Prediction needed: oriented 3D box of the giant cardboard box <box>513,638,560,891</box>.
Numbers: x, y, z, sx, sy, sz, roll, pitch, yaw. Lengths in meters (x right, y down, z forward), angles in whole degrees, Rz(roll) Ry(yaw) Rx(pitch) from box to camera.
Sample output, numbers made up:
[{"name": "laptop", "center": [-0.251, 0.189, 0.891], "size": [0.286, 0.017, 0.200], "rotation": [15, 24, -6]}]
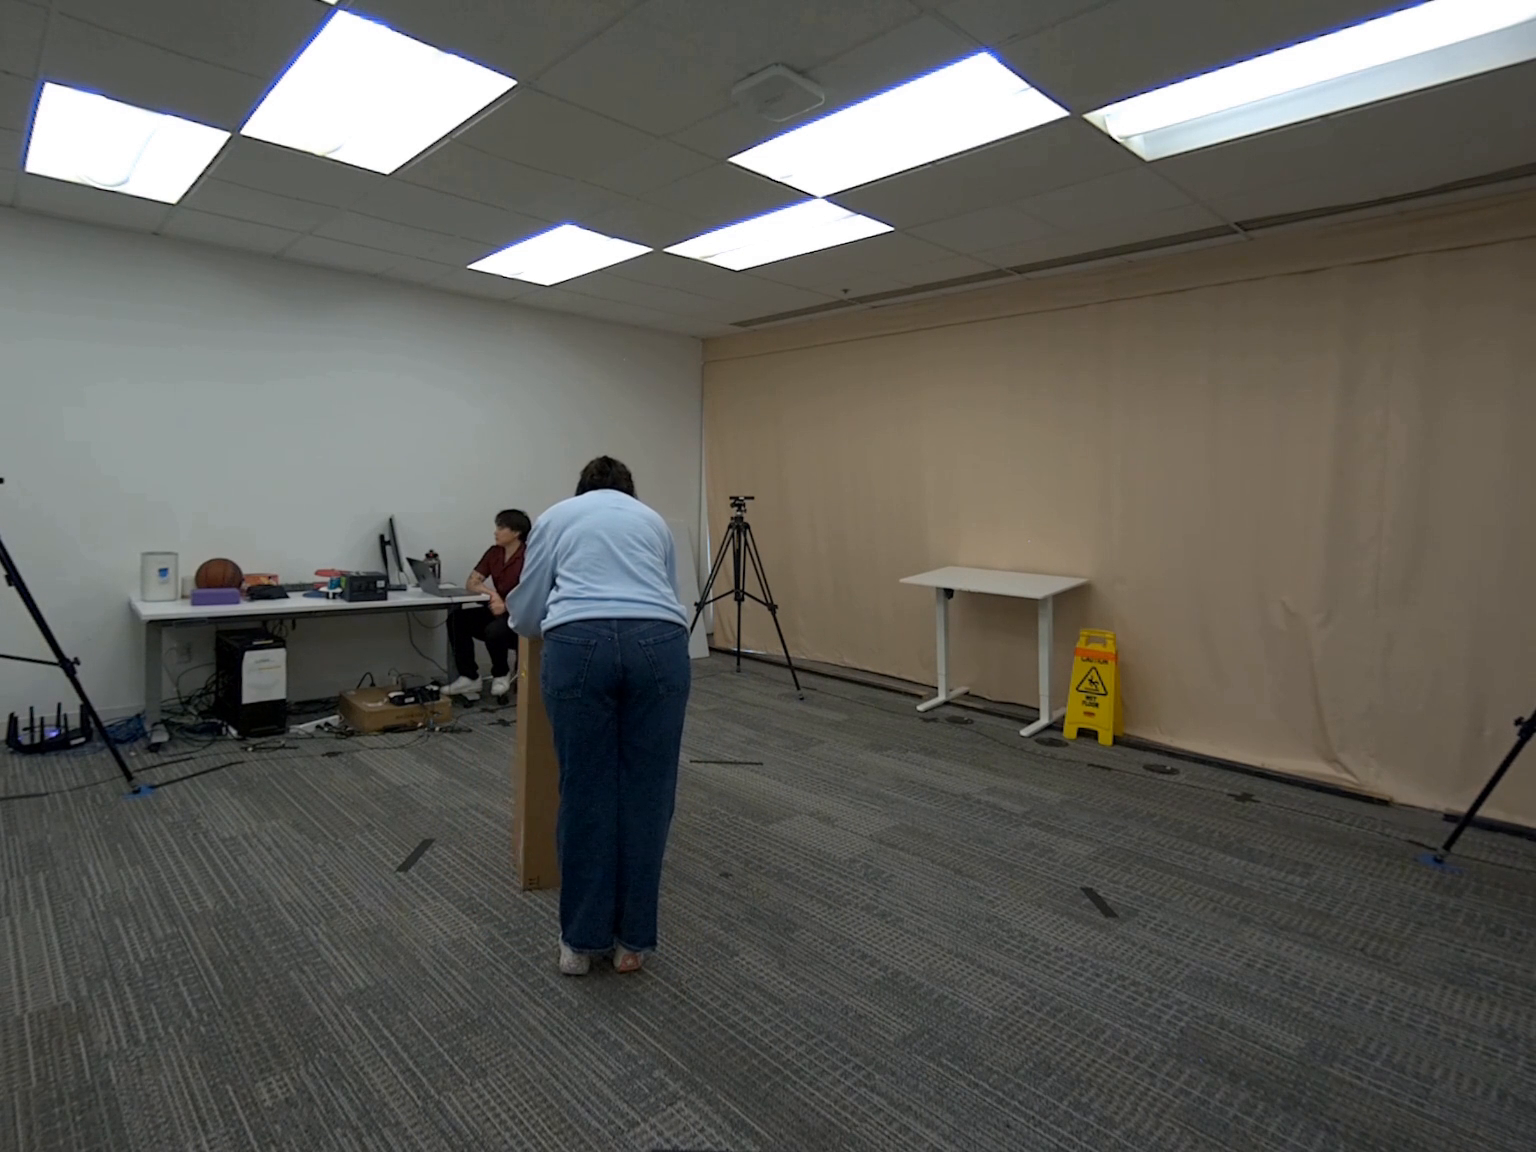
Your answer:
[{"name": "giant cardboard box", "center": [-0.748, 0.573, 3.251], "size": [0.420, 1.024, 0.587], "rotation": [1, 3, -20]}]
